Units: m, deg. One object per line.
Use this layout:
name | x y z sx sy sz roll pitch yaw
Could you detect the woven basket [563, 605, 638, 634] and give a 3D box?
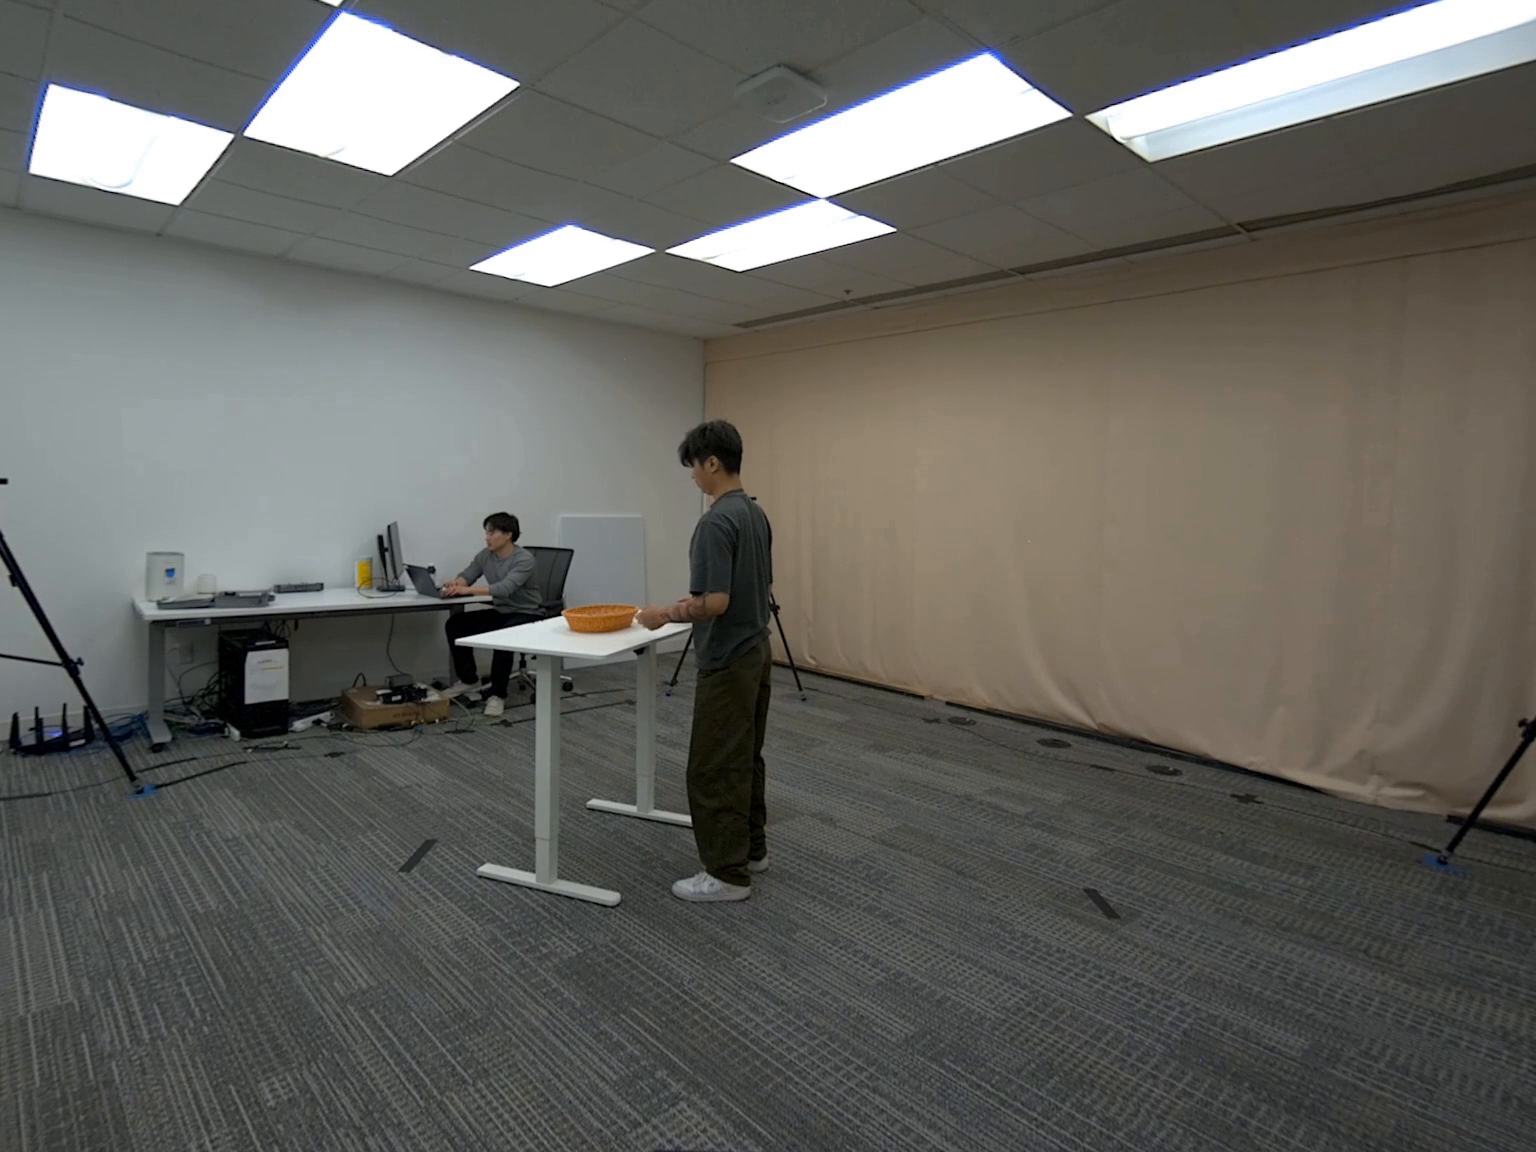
woven basket | -0.651 0.170 3.249 0.257 0.073 0.344 3 6 27
